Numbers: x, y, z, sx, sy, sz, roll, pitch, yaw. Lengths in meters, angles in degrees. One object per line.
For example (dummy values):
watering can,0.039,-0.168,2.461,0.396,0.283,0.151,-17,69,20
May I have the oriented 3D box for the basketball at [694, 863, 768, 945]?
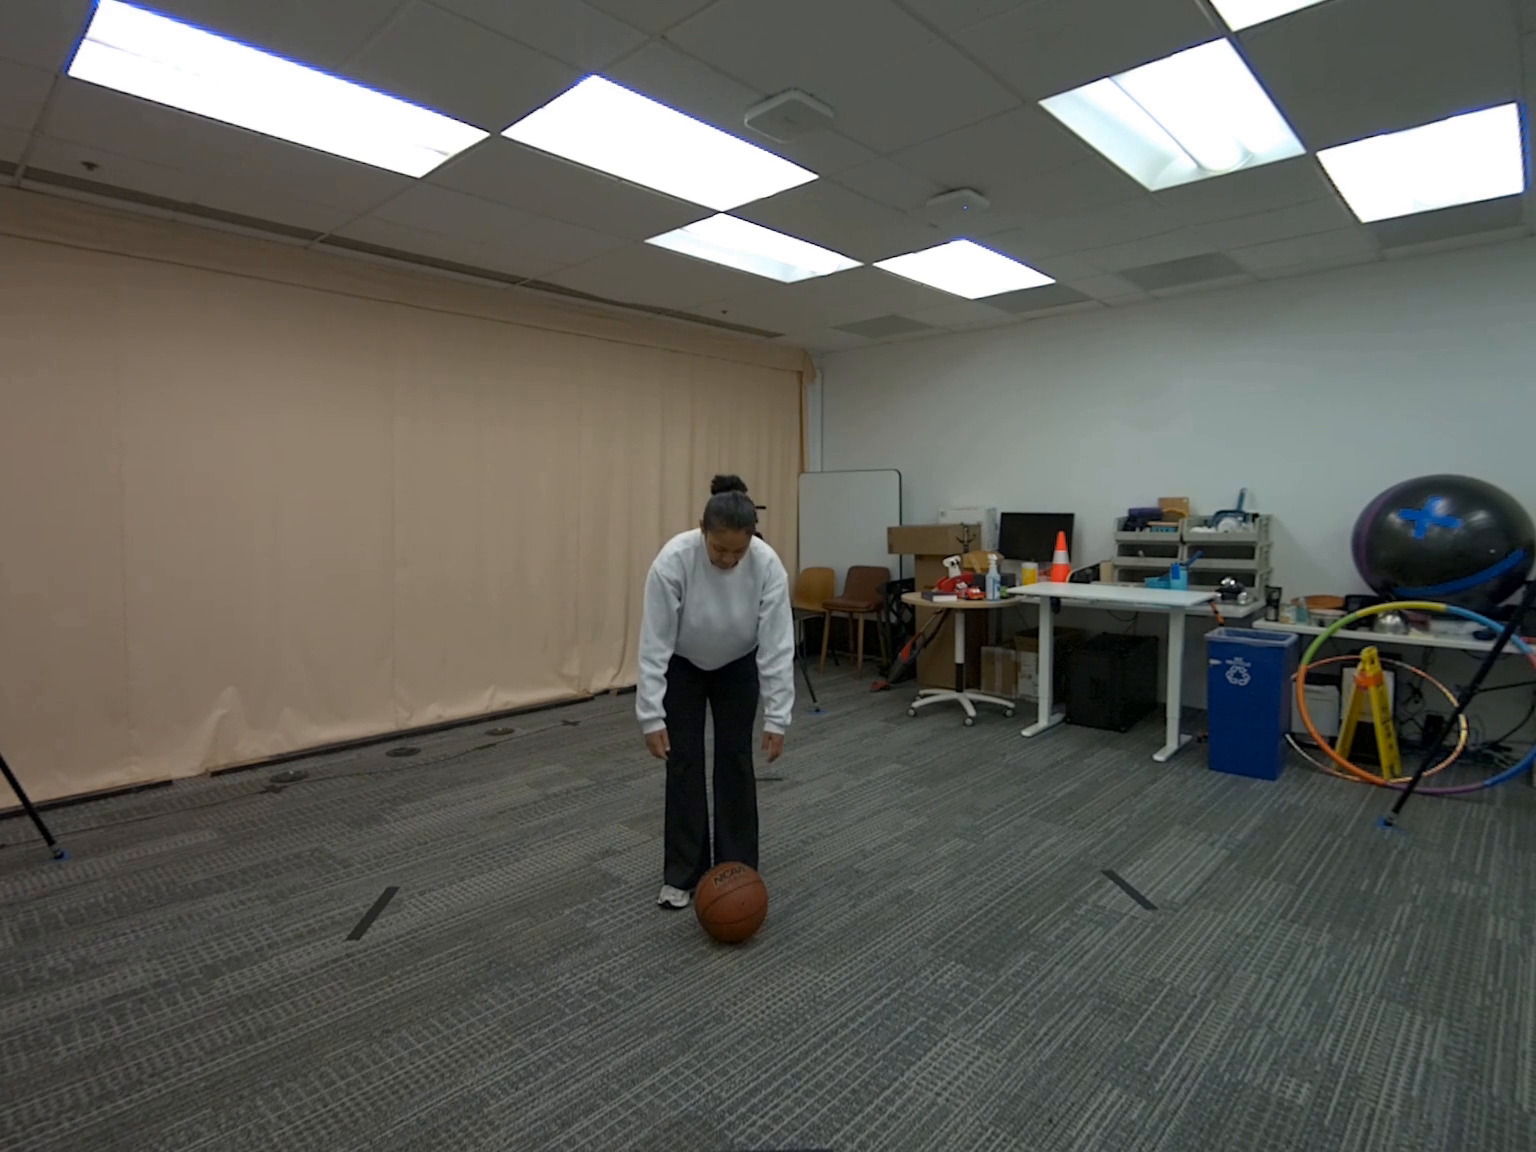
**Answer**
basketball,-0.119,1.042,2.710,0.236,0.235,0.237,0,4,-2
